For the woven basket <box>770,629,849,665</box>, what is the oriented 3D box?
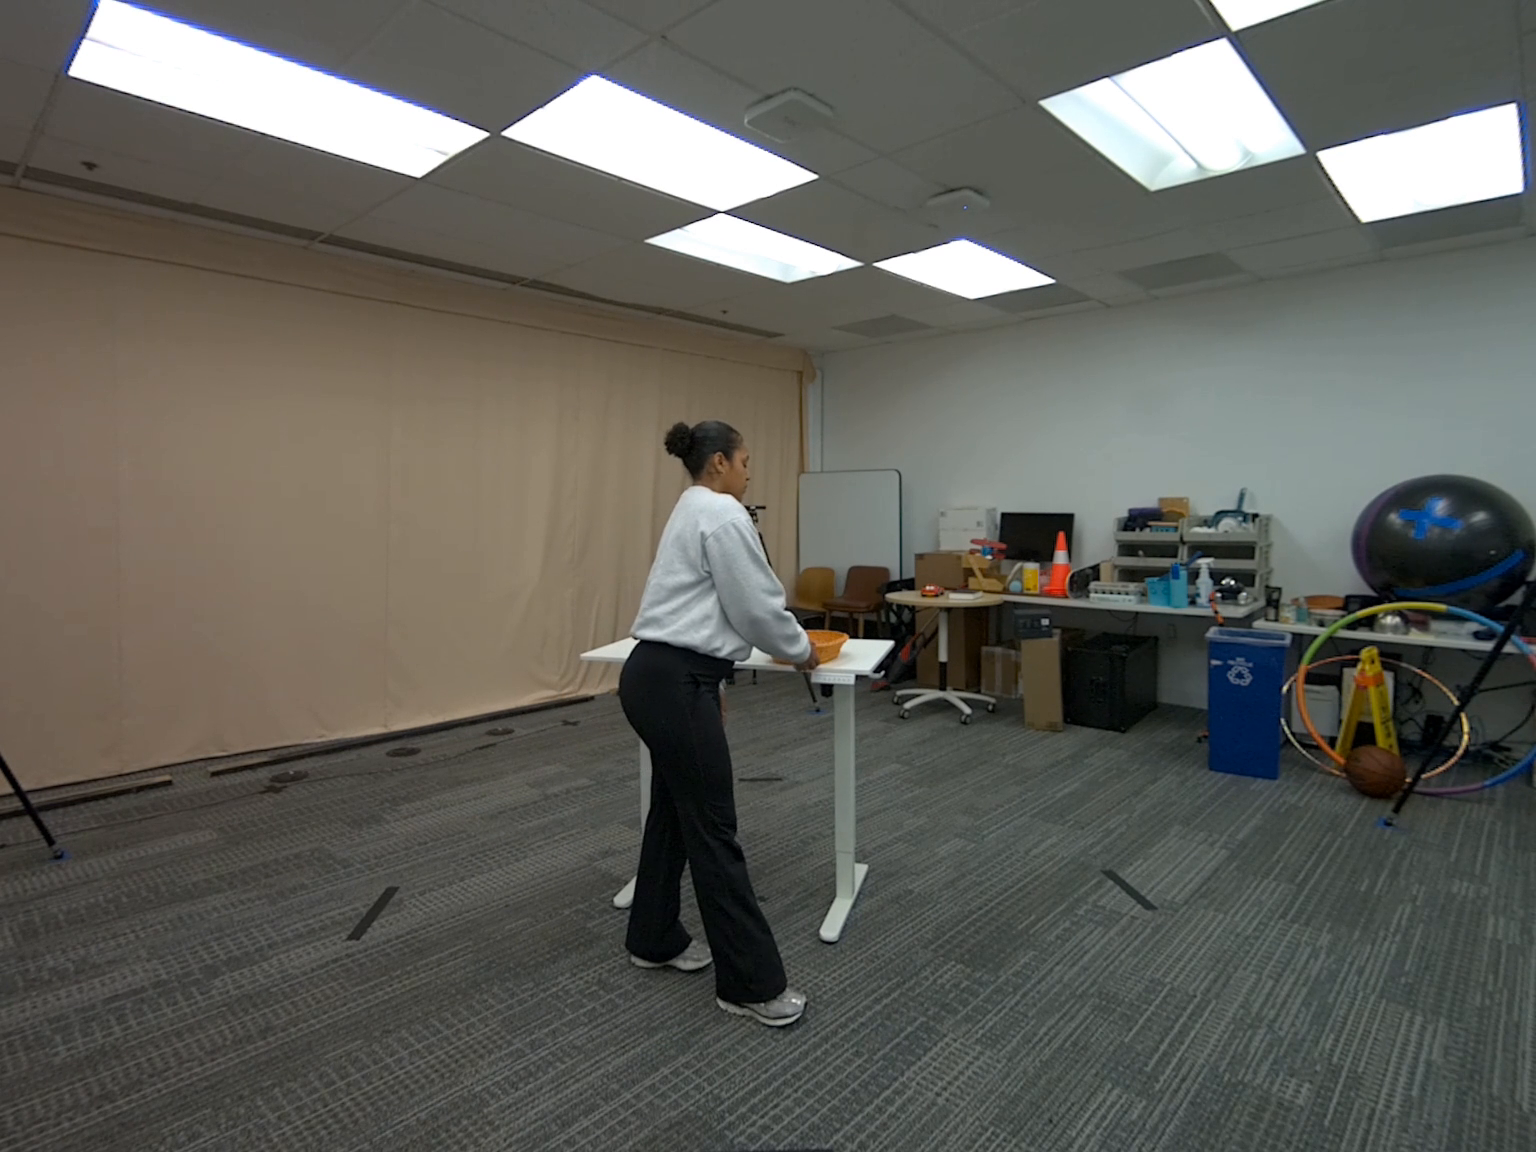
[{"bbox_3d":[0.134,0.243,2.783,0.259,0.073,0.342,1,5,25],"label":"woven basket"}]
